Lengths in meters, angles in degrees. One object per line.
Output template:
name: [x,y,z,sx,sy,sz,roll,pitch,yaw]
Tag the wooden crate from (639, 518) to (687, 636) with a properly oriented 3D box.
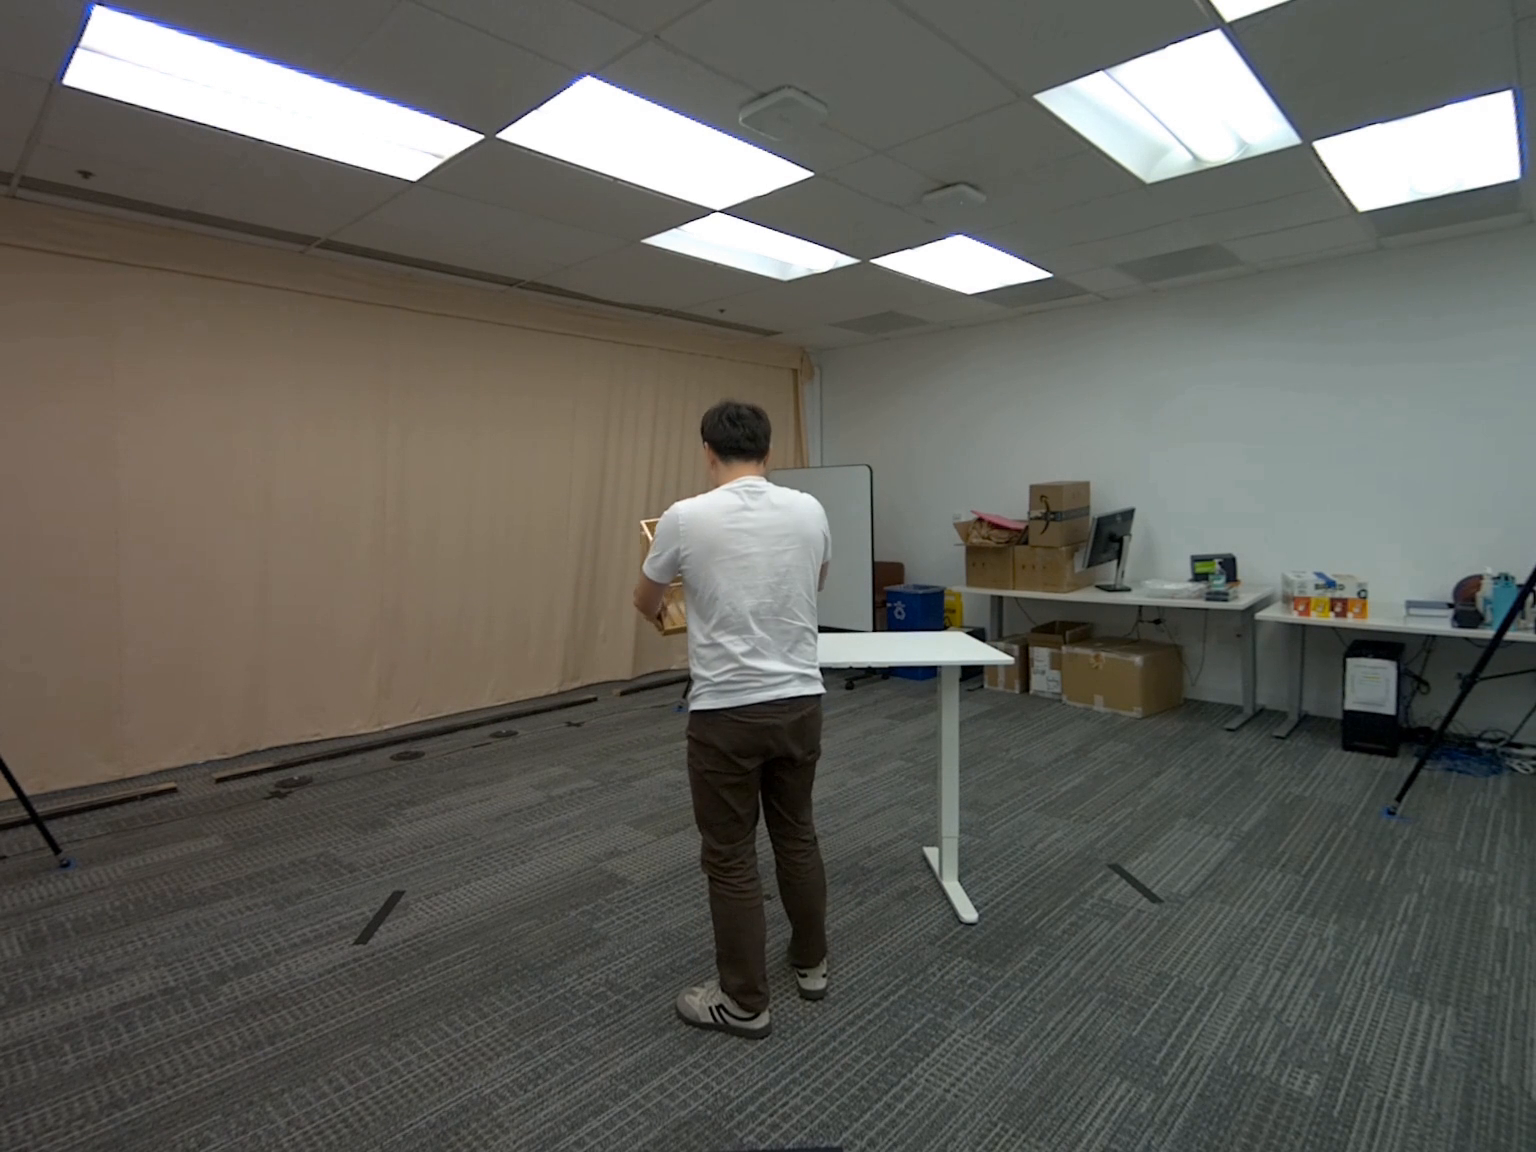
wooden crate: [-0.225,-0.010,2.720,0.319,0.269,0.312,-8,37,-19]
